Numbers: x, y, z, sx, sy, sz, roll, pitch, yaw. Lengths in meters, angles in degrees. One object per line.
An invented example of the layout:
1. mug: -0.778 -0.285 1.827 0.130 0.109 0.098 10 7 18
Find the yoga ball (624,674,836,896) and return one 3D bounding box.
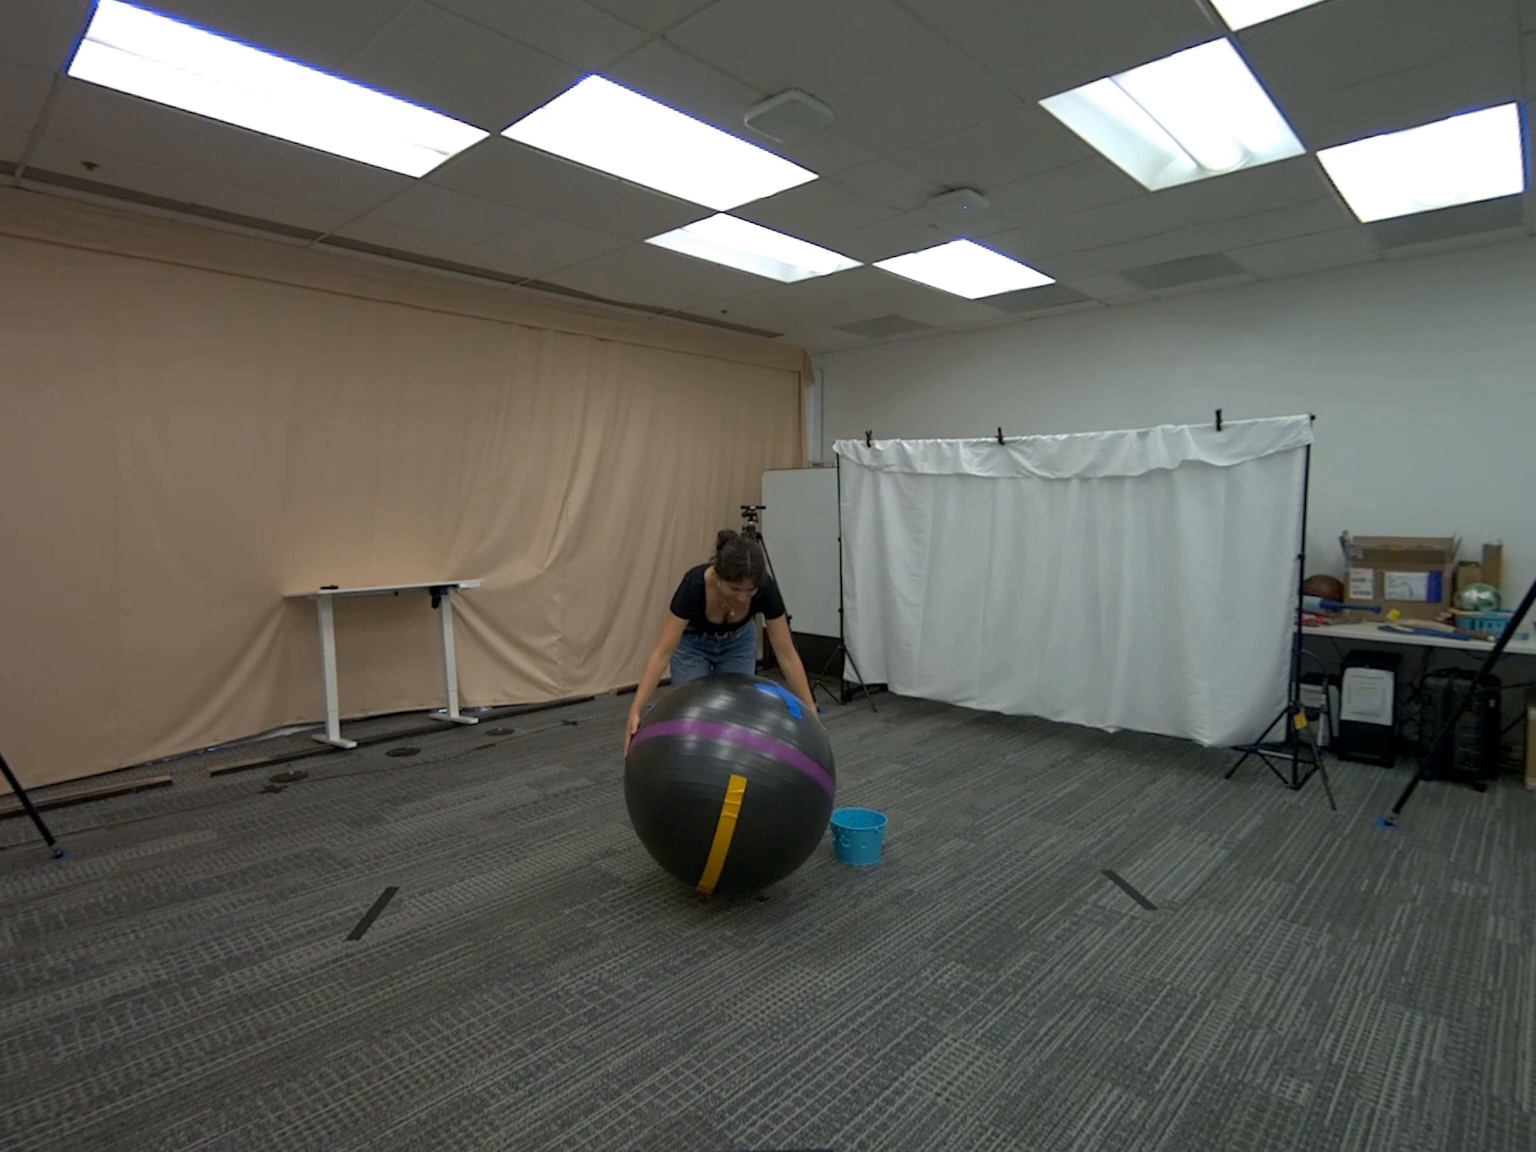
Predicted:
1. yoga ball: -0.141 0.748 3.009 0.757 0.756 0.760 0 4 -2
